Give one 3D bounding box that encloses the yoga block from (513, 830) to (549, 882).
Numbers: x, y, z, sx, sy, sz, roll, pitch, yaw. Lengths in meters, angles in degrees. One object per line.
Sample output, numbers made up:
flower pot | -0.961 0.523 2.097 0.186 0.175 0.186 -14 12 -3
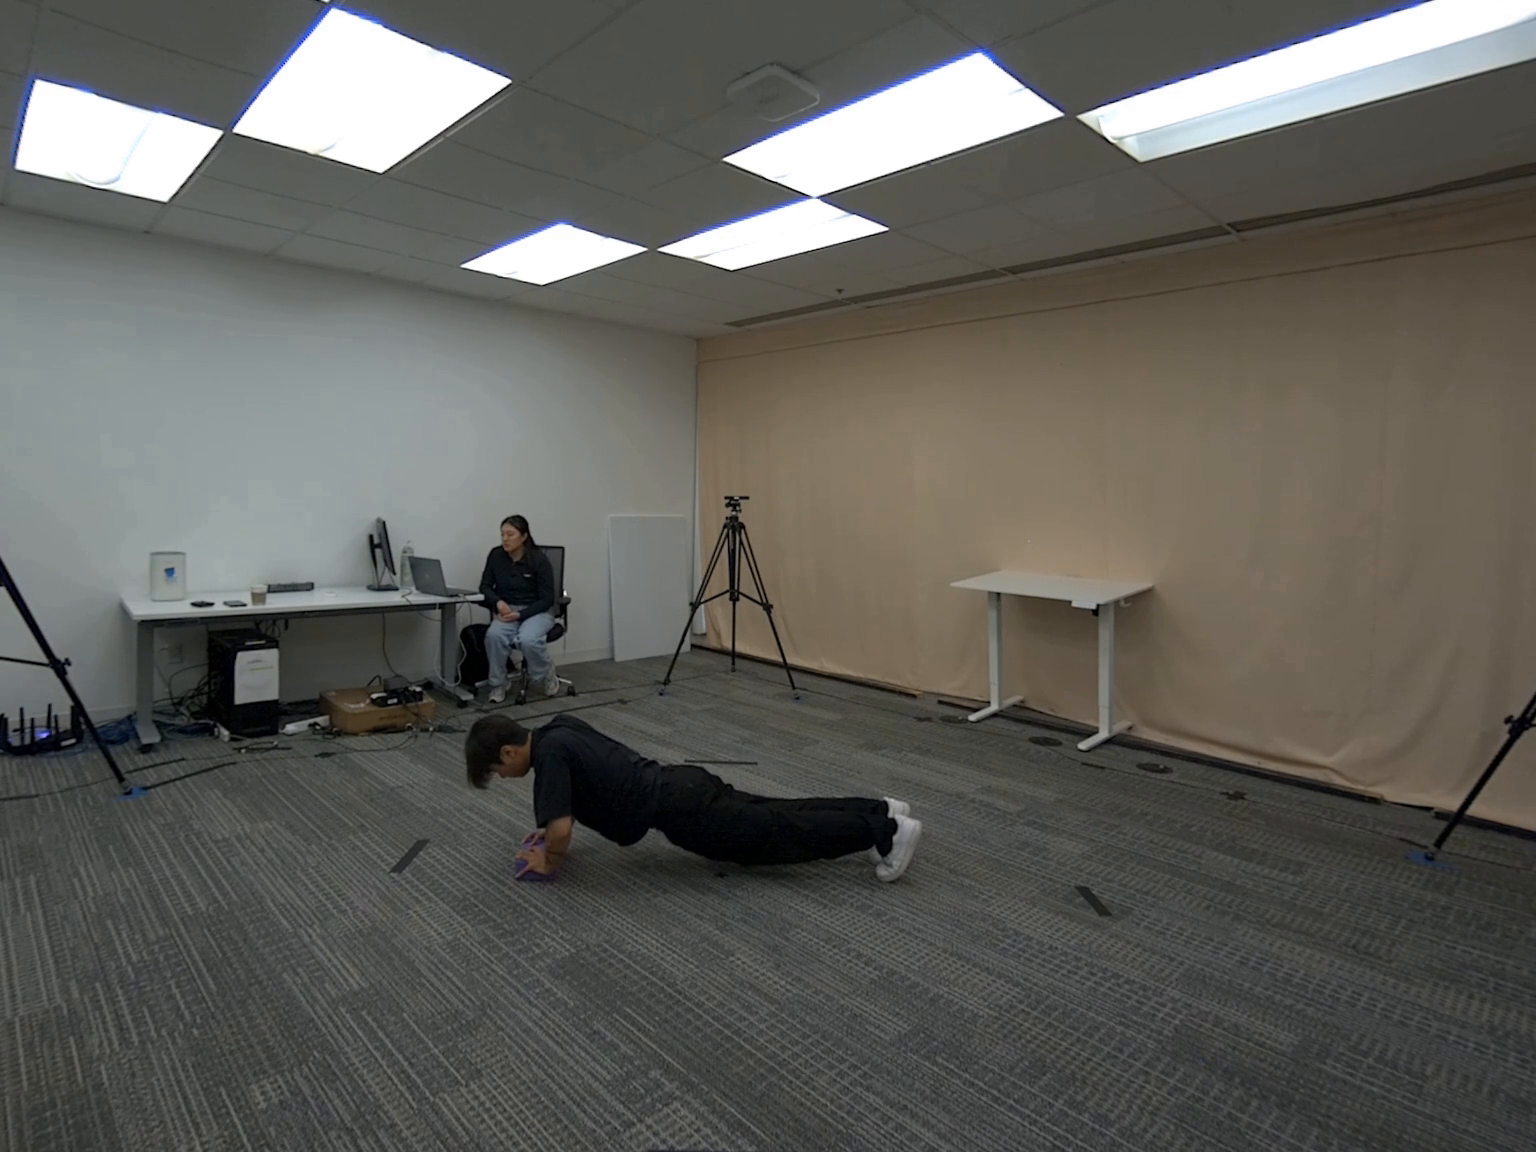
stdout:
yoga block | -0.851 1.051 3.138 0.148 0.076 0.231 0 4 -5
